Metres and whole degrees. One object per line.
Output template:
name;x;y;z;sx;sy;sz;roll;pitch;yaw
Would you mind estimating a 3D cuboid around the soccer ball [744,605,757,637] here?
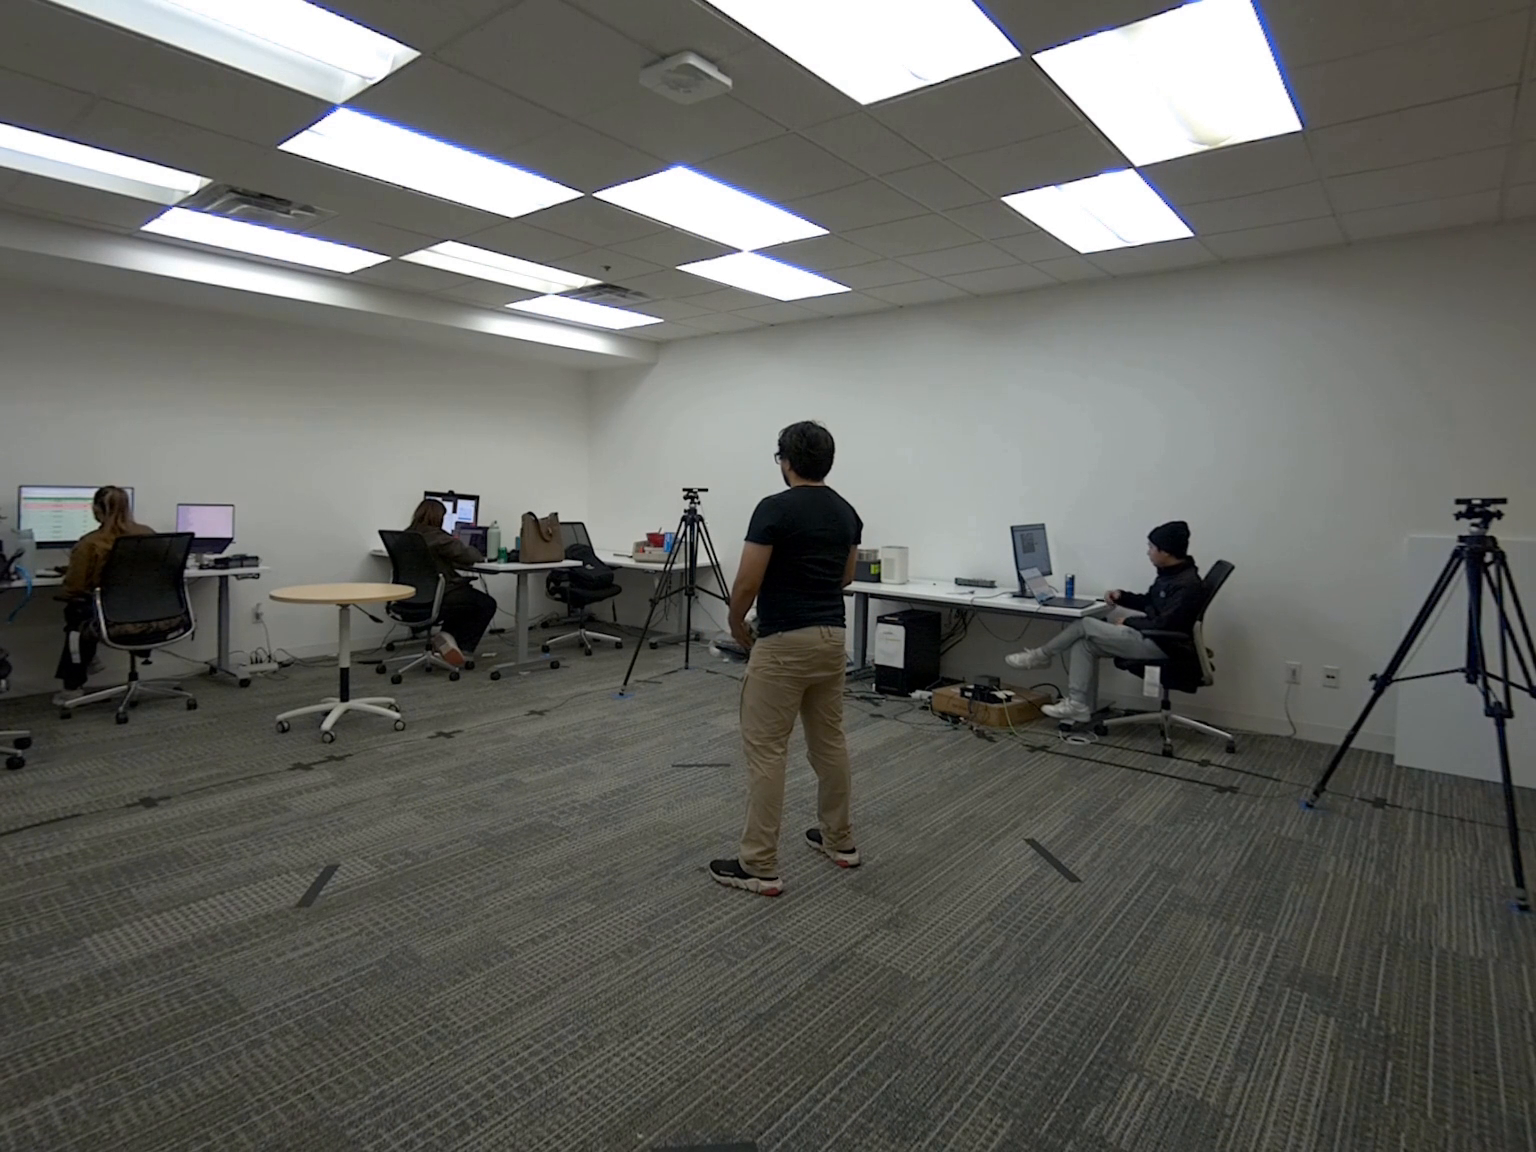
soccer ball;-0.042;0.185;3.368;0.187;0.187;0.188;1;4;-2
